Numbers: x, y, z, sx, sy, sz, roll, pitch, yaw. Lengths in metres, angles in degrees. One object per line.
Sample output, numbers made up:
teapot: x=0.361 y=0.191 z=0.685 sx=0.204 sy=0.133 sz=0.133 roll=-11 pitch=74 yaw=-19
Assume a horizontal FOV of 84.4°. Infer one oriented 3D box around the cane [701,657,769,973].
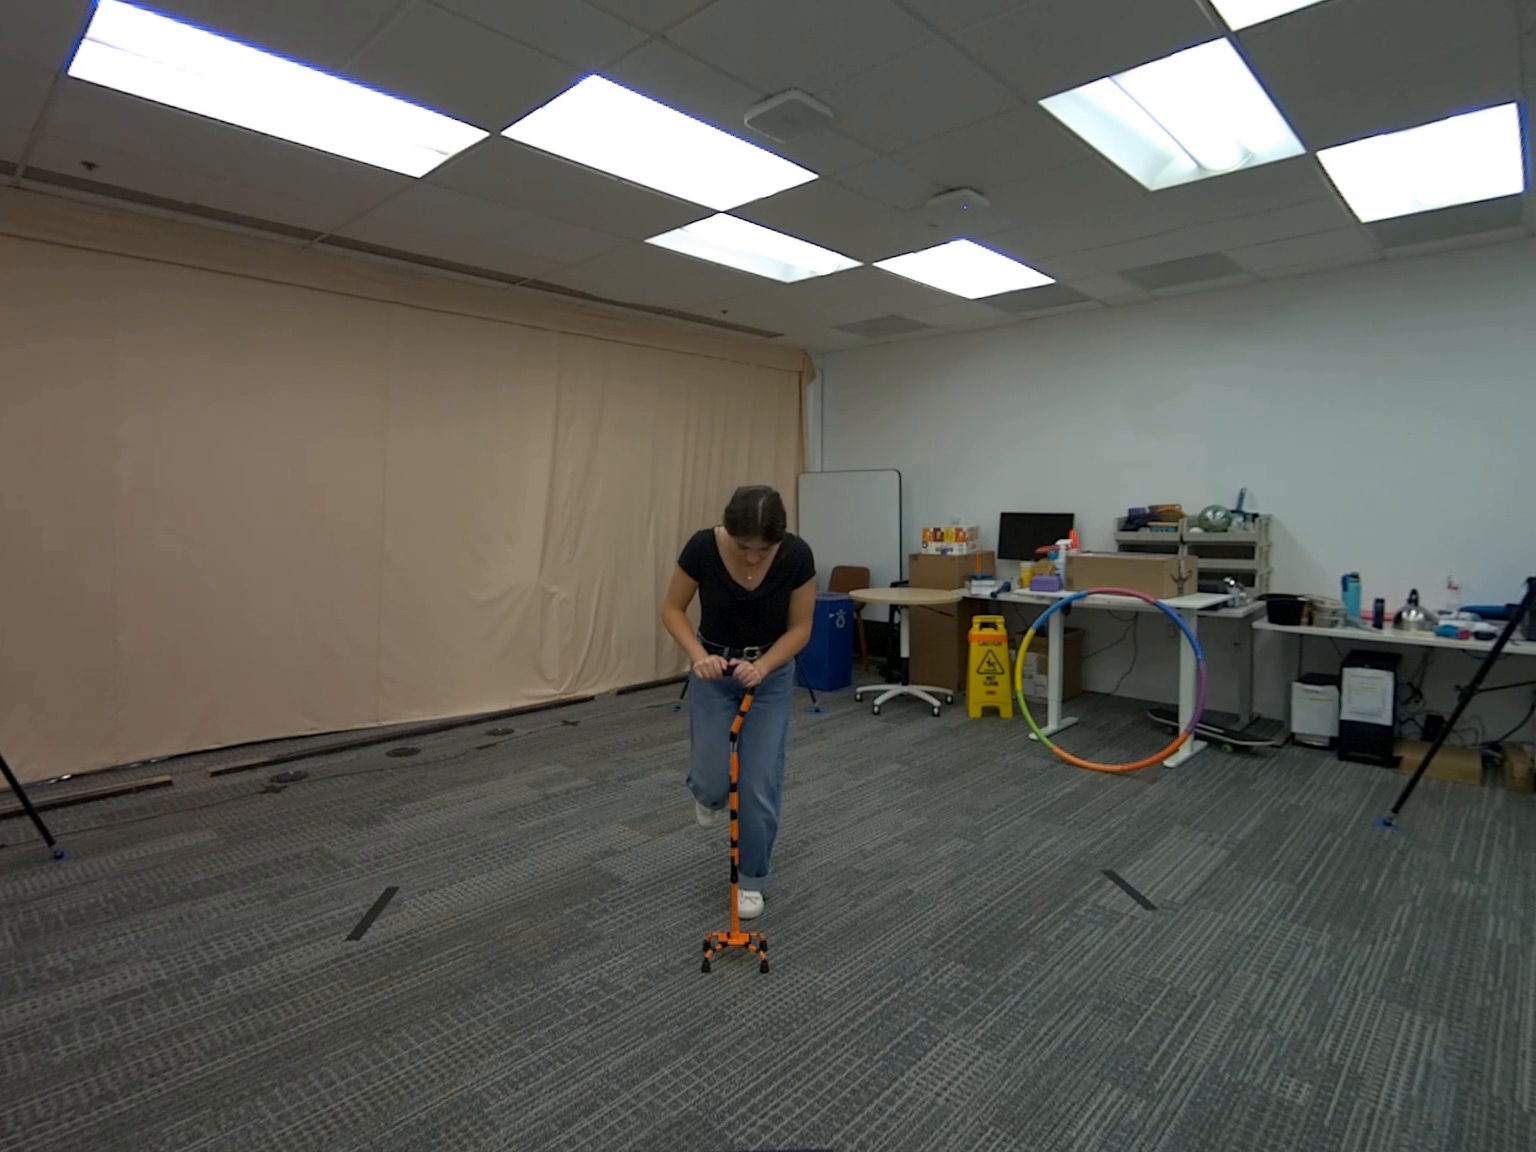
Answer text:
cane: x=-0.097 y=0.720 z=2.559 sx=0.206 sy=0.906 sz=0.152 roll=0 pitch=4 yaw=-1
